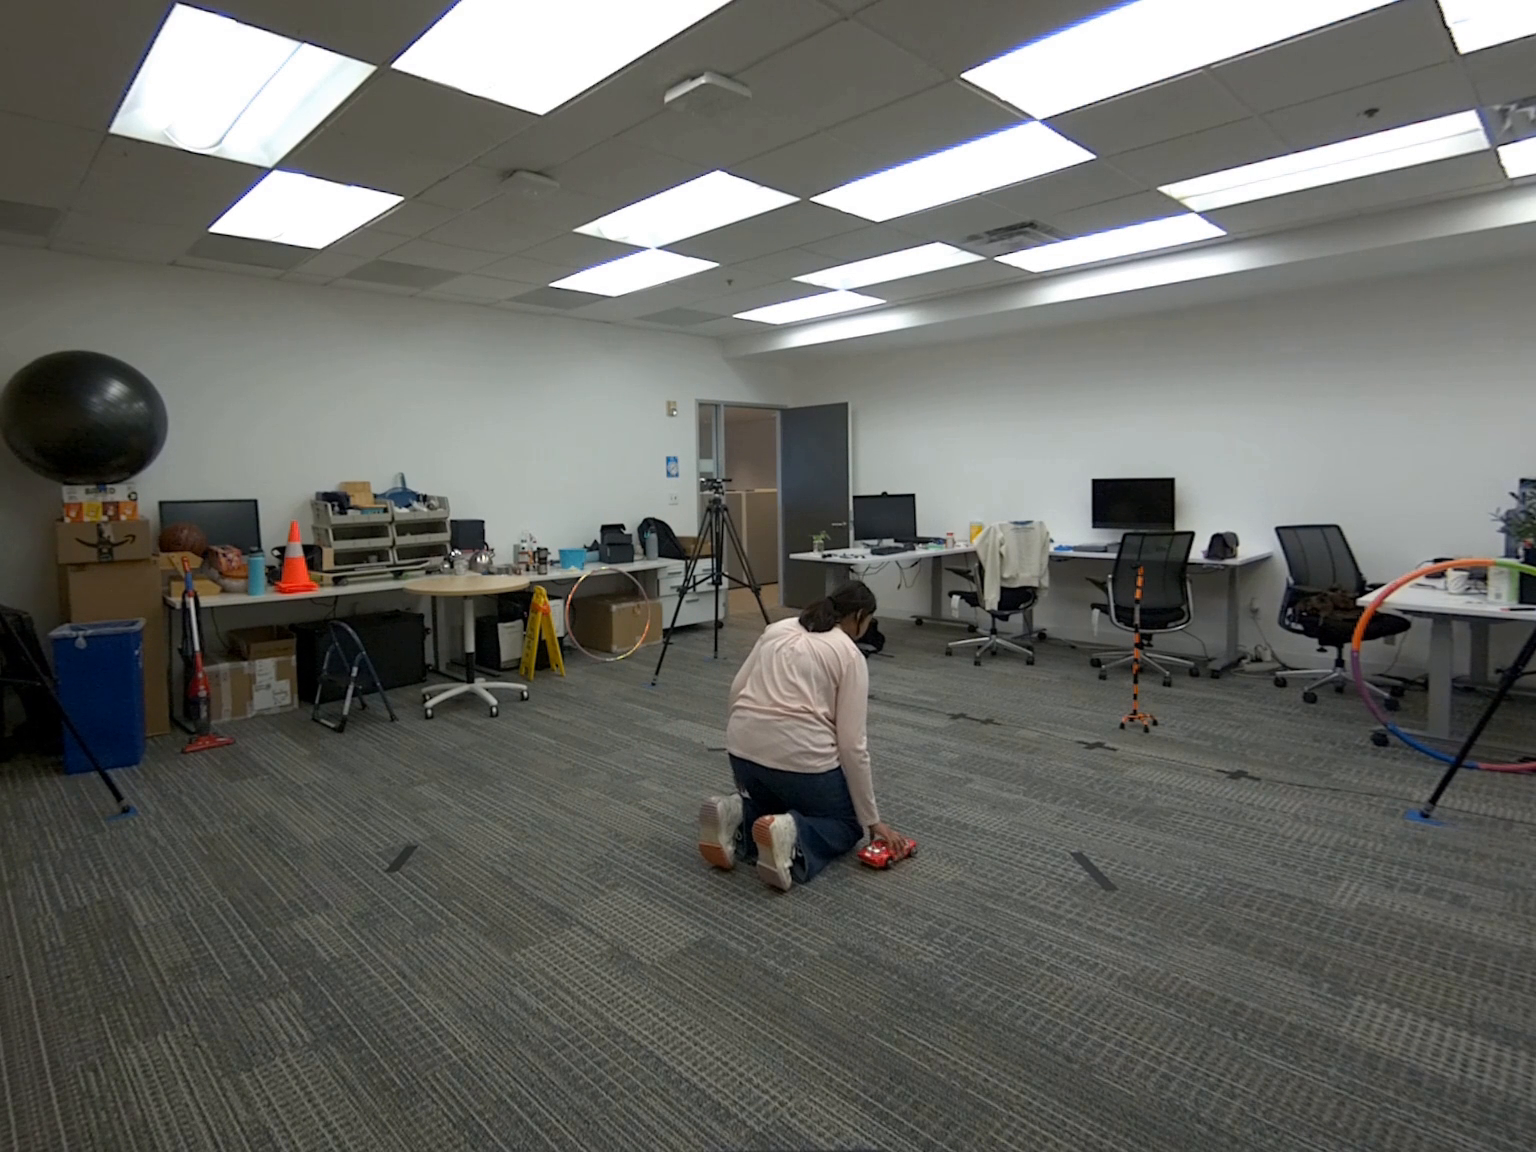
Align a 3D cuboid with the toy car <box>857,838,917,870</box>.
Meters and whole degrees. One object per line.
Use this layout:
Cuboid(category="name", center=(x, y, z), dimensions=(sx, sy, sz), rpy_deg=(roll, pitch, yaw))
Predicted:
Cuboid(category="toy car", center=(0.428, 0.999, 3.102), dimensions=(0.246, 0.083, 0.134), rpy_deg=(9, -1, -43))
